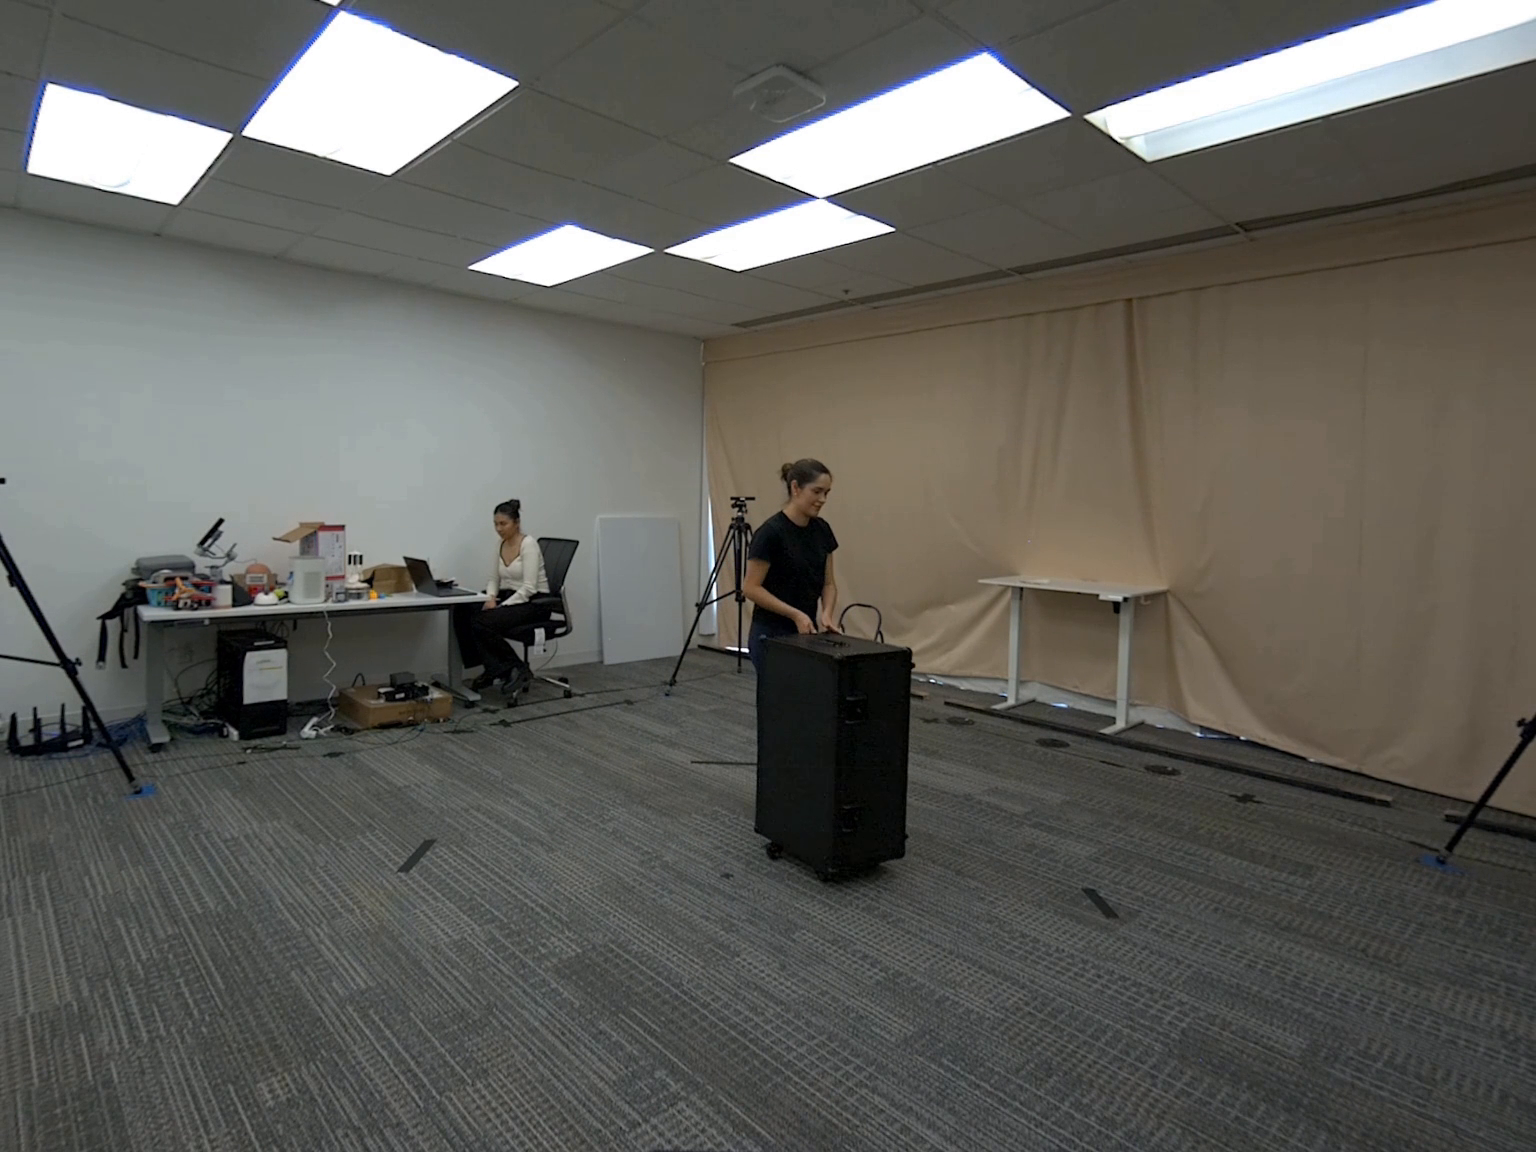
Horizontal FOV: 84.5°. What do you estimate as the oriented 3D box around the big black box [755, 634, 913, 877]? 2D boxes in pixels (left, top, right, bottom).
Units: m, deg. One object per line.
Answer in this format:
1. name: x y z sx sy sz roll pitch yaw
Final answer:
1. big black box: 0.243 0.684 3.220 0.387 0.860 0.534 1 3 -35
